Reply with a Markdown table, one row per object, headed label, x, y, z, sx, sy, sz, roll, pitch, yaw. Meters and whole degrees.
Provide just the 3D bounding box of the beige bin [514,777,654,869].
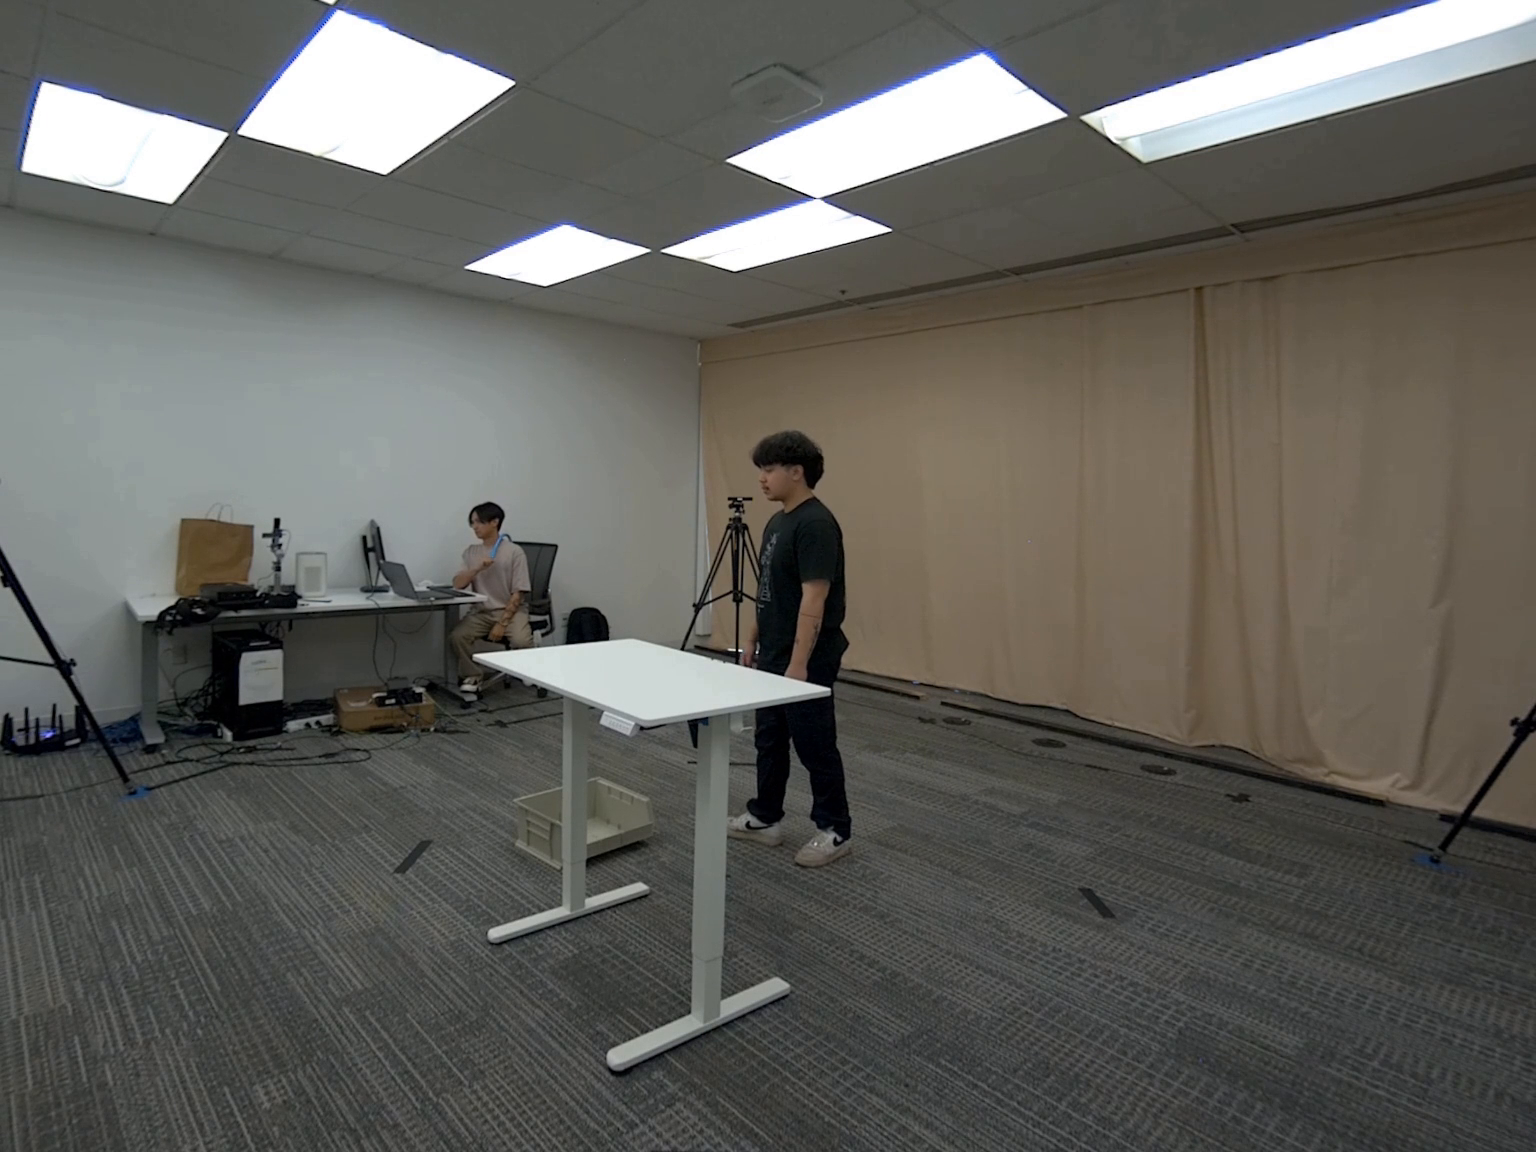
| label | x | y | z | sx | sy | sz | roll | pitch | yaw |
| --- | --- | --- | --- | --- | --- | --- | --- | --- | --- |
| beige bin | -0.741 | 0.984 | 3.357 | 0.387 | 0.188 | 0.413 | 5 | 7 | 43 |
